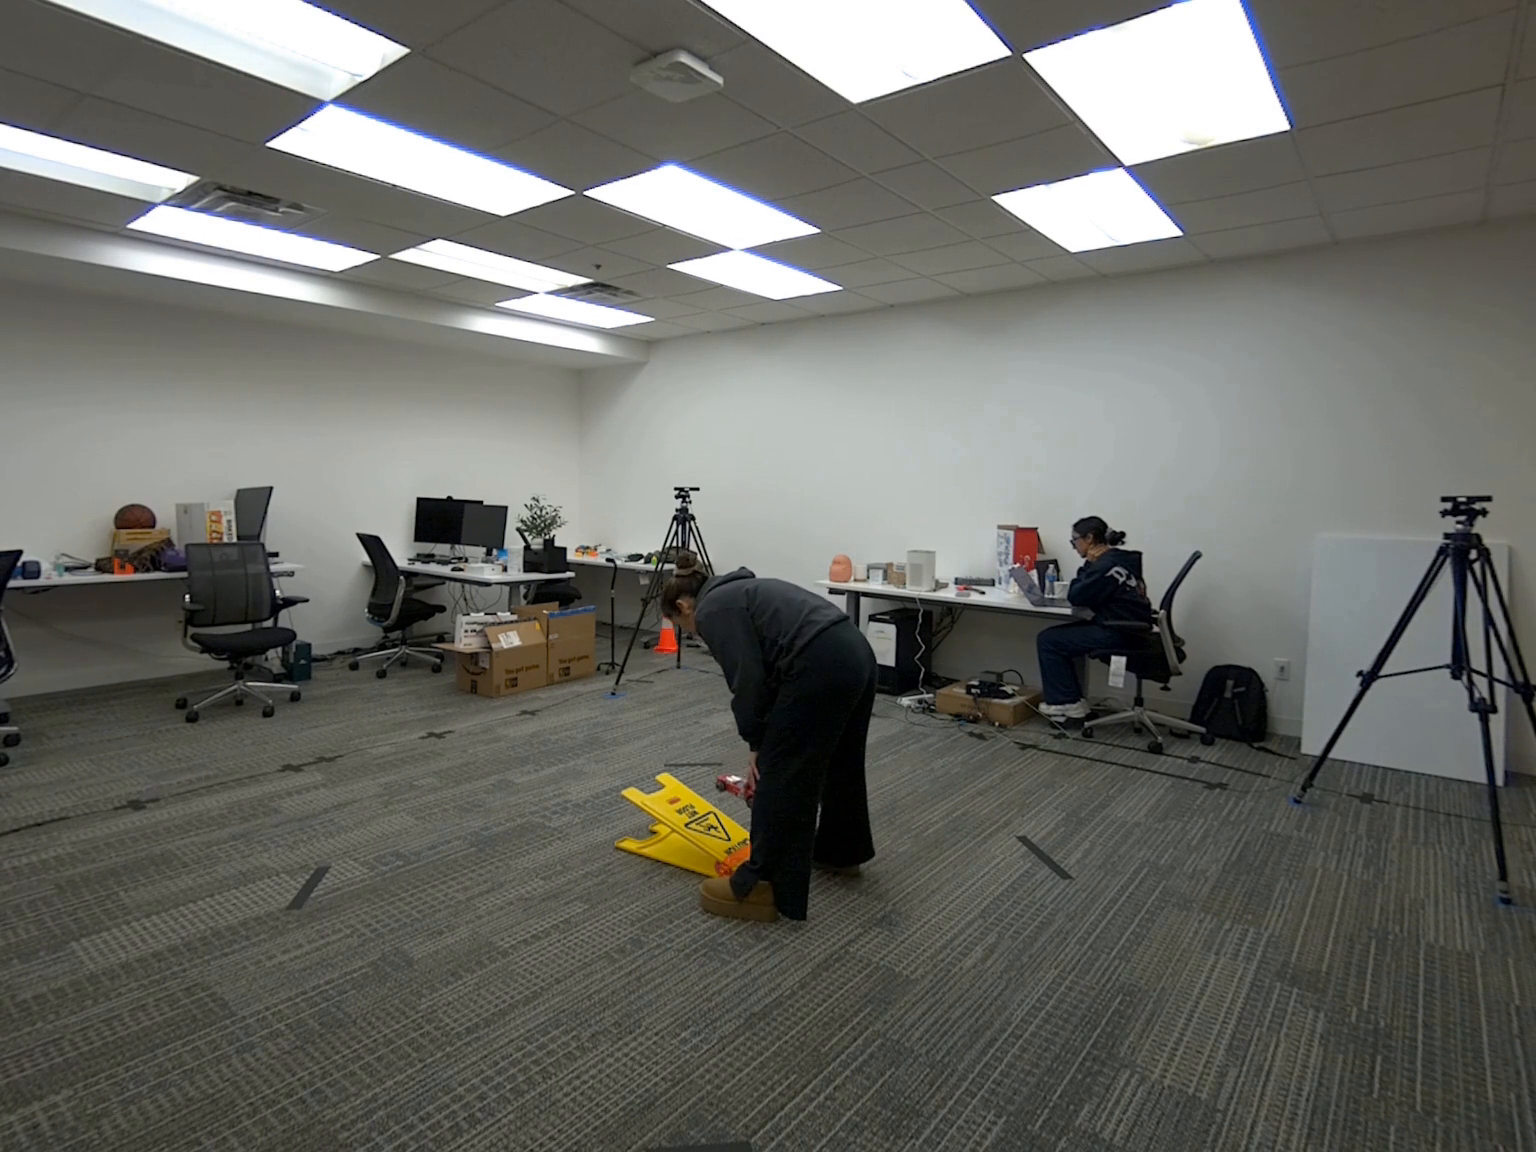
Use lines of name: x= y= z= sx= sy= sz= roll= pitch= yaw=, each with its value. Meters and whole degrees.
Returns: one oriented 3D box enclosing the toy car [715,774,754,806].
toy car: x=-0.074 y=0.784 z=3.075 sx=0.263 sy=0.083 sz=0.126 roll=5 pitch=-2 yaw=36
